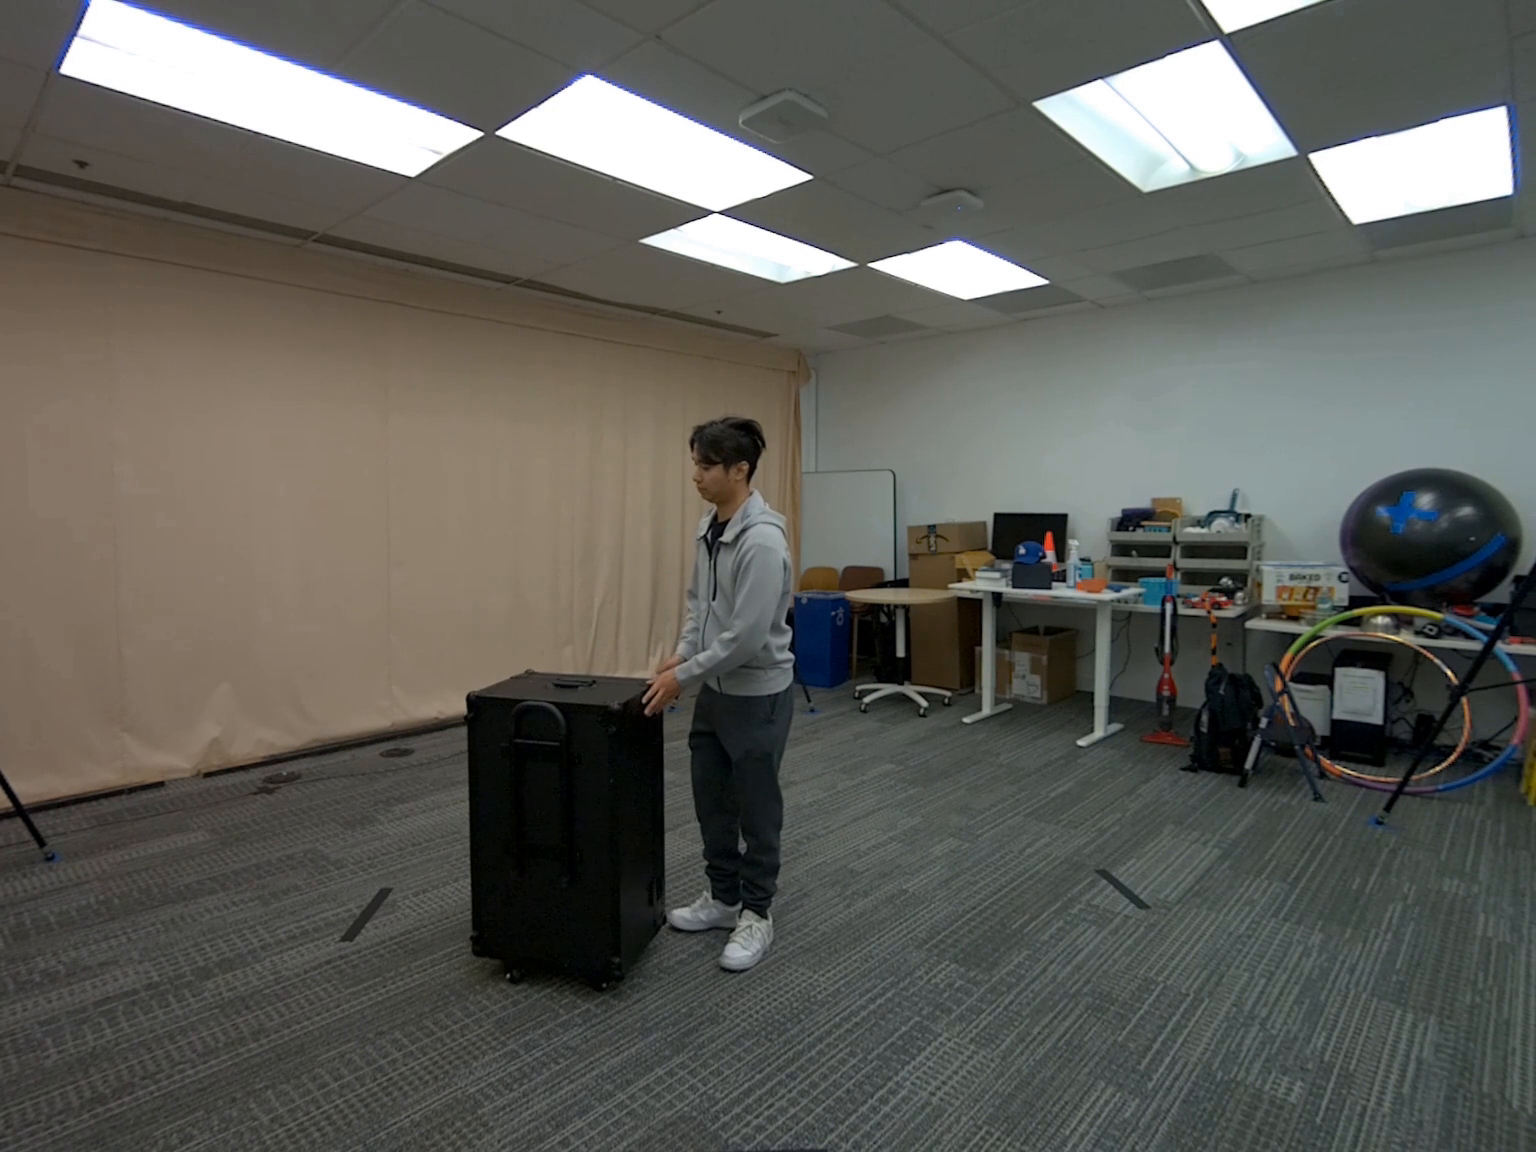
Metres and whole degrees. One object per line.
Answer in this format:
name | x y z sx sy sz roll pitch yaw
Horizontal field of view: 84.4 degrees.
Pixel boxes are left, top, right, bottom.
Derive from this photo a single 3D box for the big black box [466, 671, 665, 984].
big black box | -0.599 0.763 2.545 0.531 0.859 0.390 1 4 16
